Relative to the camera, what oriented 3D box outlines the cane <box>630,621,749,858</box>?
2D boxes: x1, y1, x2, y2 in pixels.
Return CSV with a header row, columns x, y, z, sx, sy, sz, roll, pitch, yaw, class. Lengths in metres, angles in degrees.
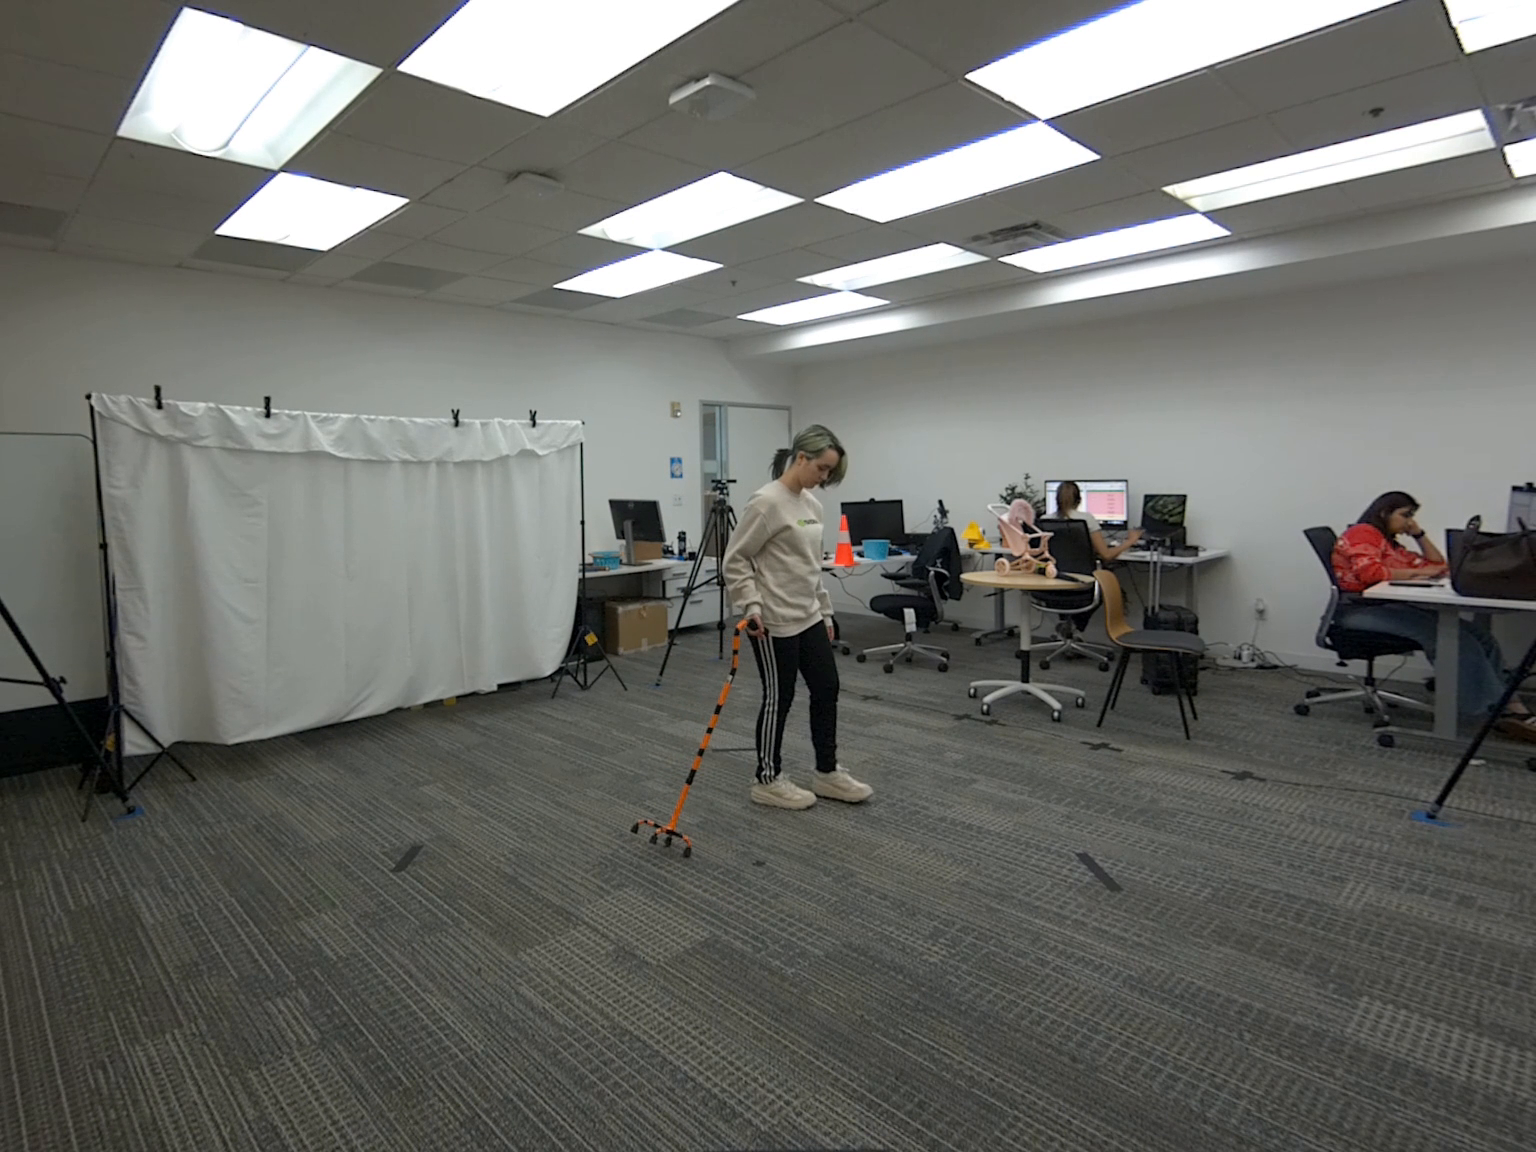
x,y,z,sx,sy,sz,roll,pitch,yaw,class
-0.235,0.587,3.284,0.199,0.914,0.156,32,-18,-37,cane
